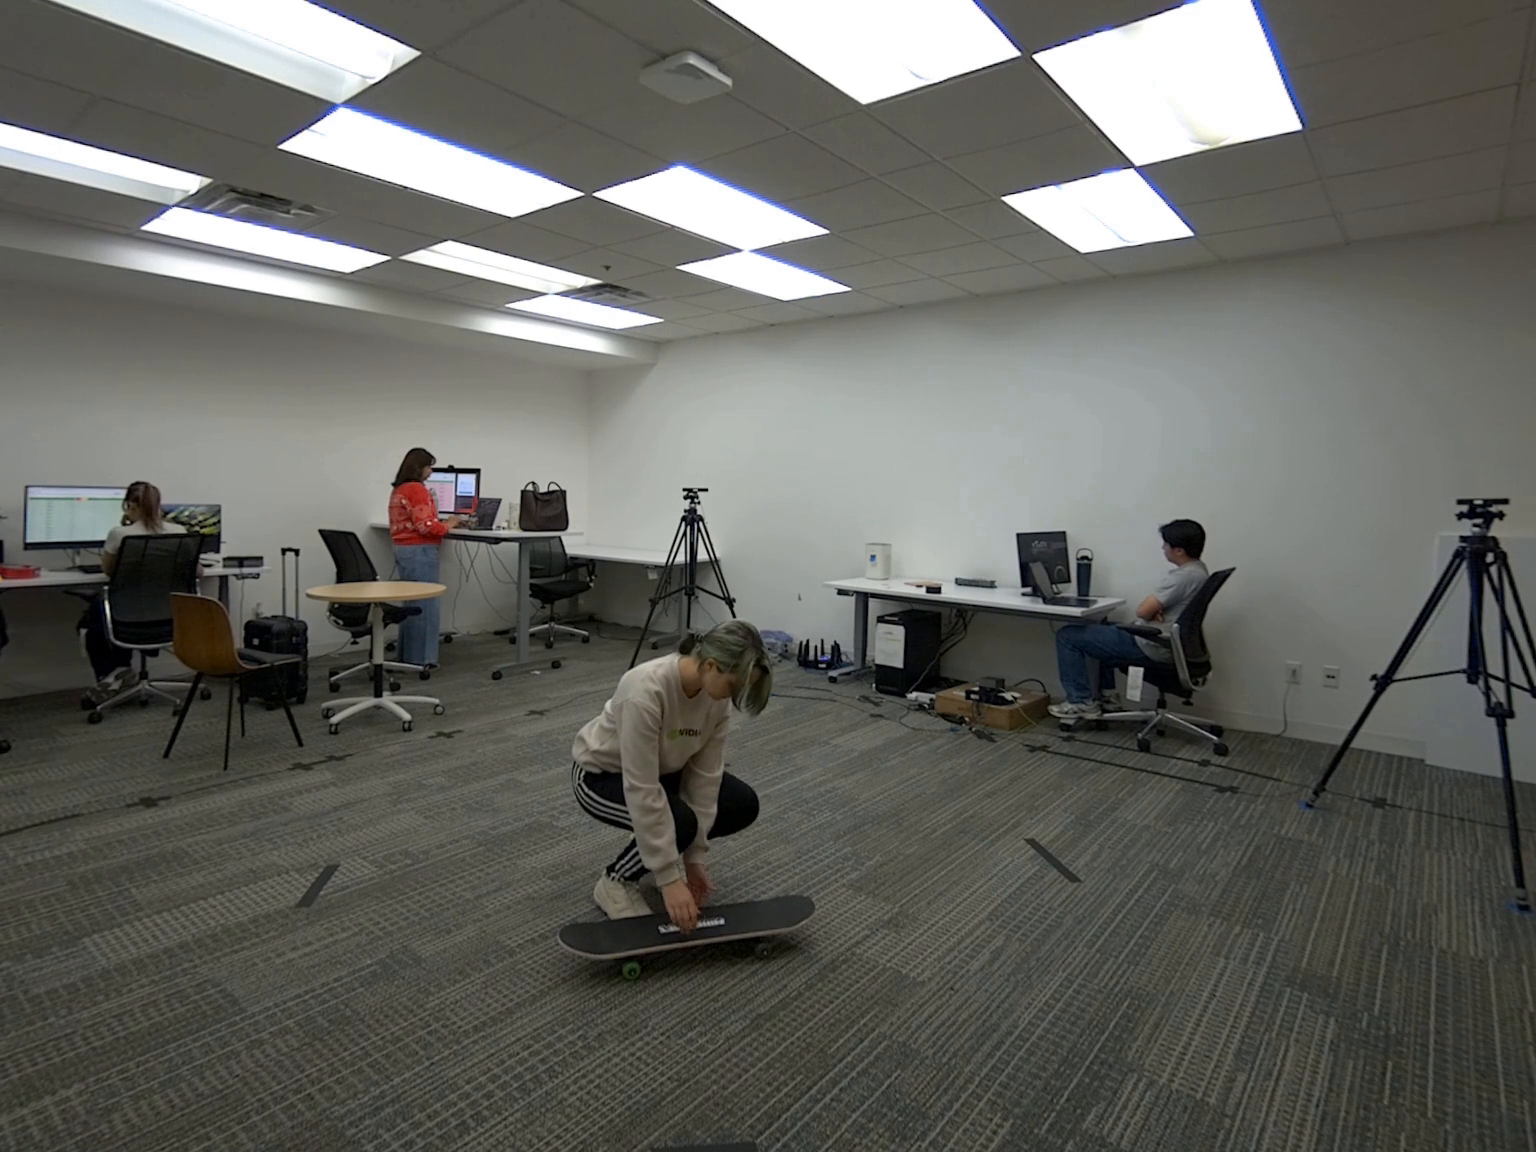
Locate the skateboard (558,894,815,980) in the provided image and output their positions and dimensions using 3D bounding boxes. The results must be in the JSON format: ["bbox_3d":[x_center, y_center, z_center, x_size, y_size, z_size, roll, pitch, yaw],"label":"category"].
[{"bbox_3d":[-0.225,1.065,2.535,0.771,0.110,0.198,-1,5,-18],"label":"skateboard"}]
